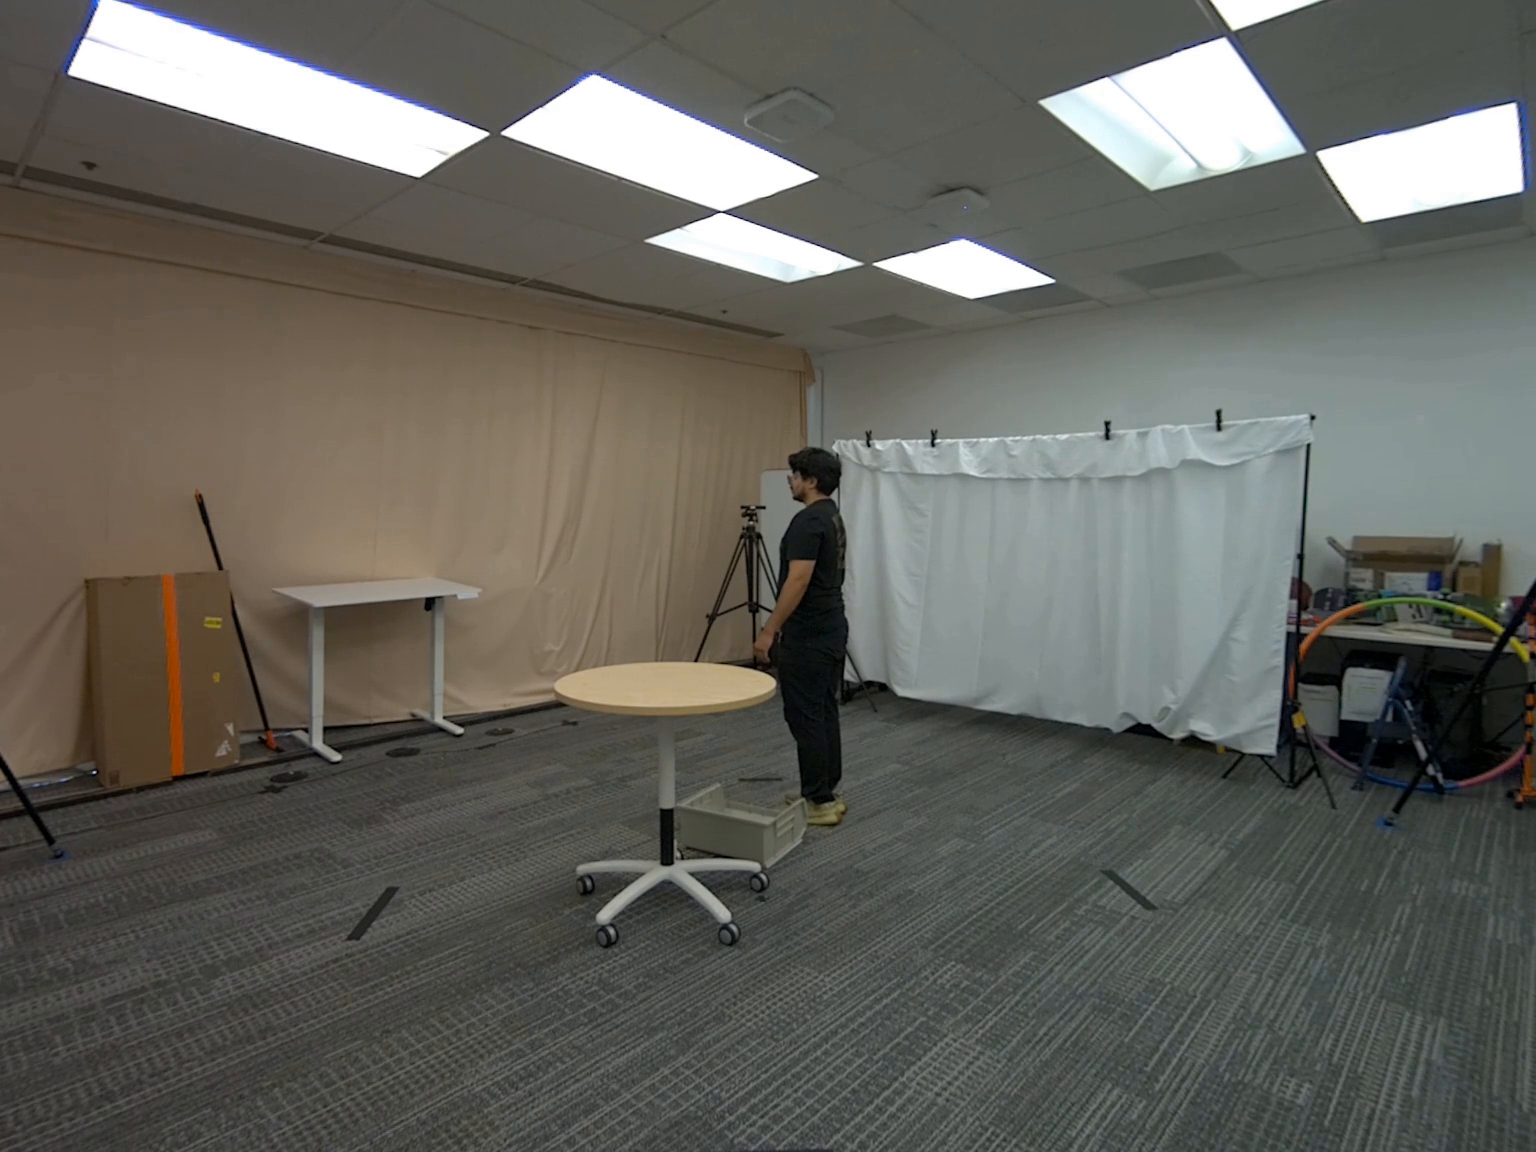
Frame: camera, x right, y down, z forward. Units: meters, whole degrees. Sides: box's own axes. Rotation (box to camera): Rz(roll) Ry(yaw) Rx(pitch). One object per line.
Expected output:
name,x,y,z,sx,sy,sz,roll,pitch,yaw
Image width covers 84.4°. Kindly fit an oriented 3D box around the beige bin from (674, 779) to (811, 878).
beige bin,-0.102,1.017,3.470,0.434,0.188,0.368,3,7,29
